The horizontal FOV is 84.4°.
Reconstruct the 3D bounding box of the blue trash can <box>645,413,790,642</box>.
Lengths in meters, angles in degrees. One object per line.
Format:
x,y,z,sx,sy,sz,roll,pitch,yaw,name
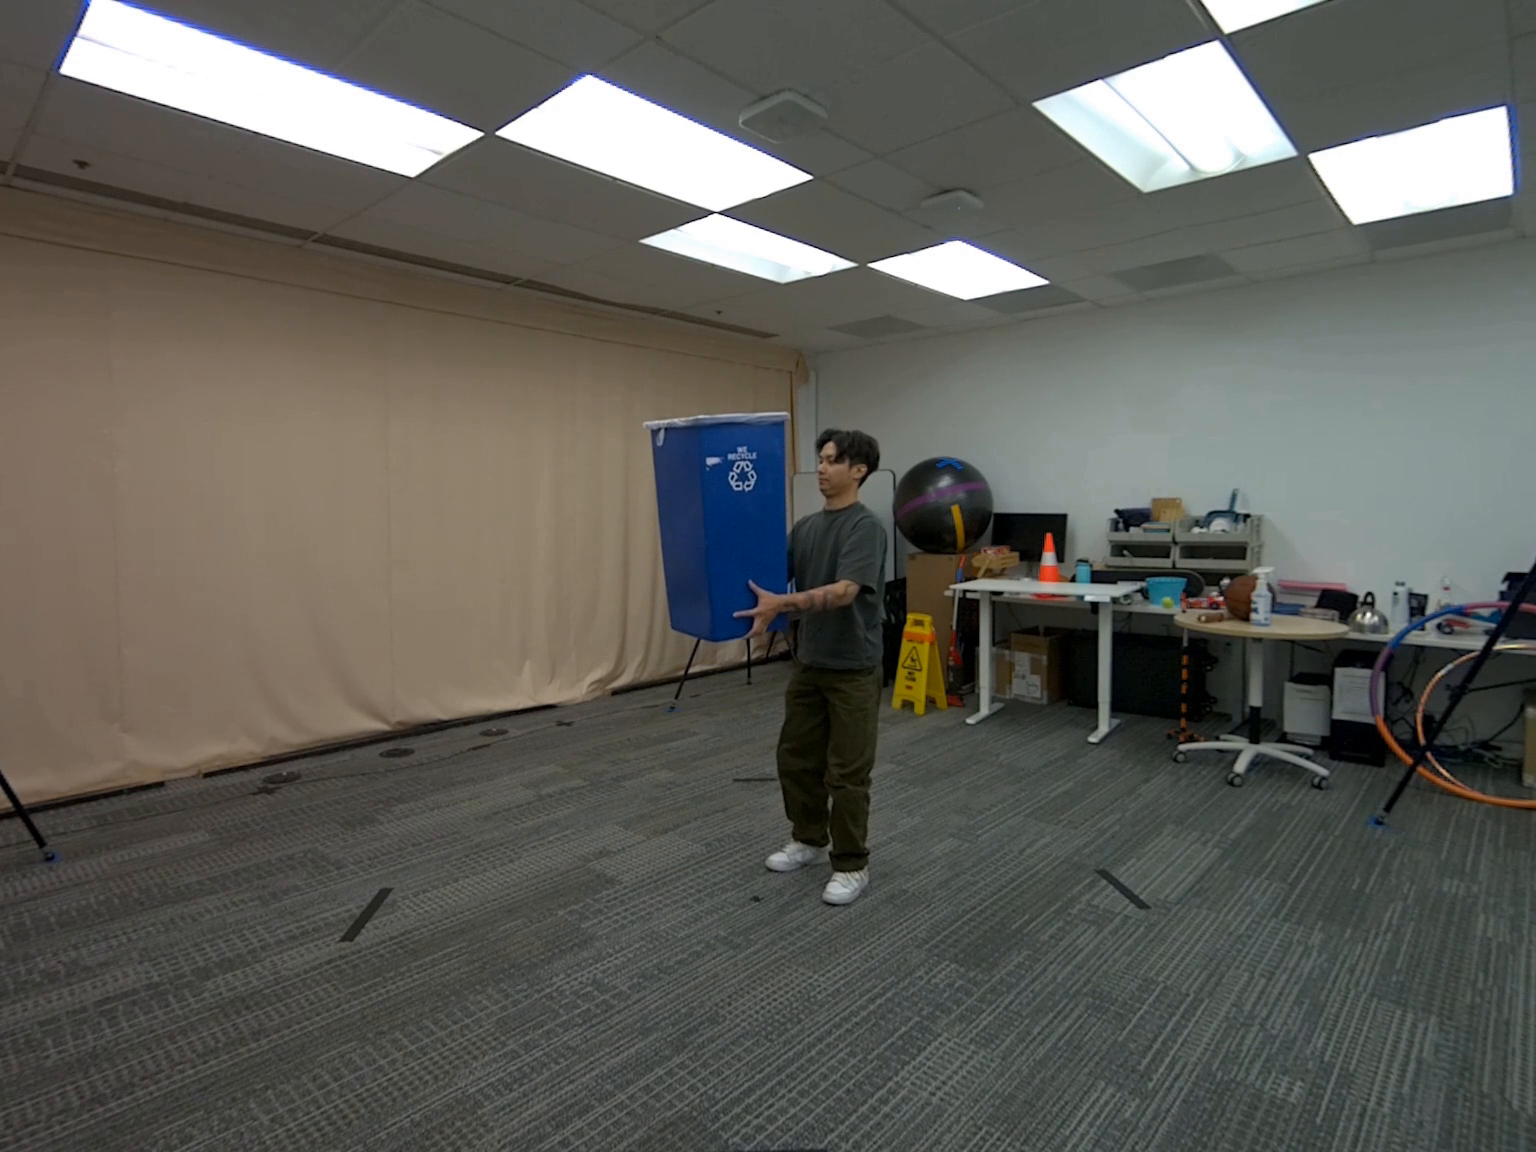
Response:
-0.145,-0.185,2.825,0.368,0.710,0.386,-8,9,-34,blue trash can
